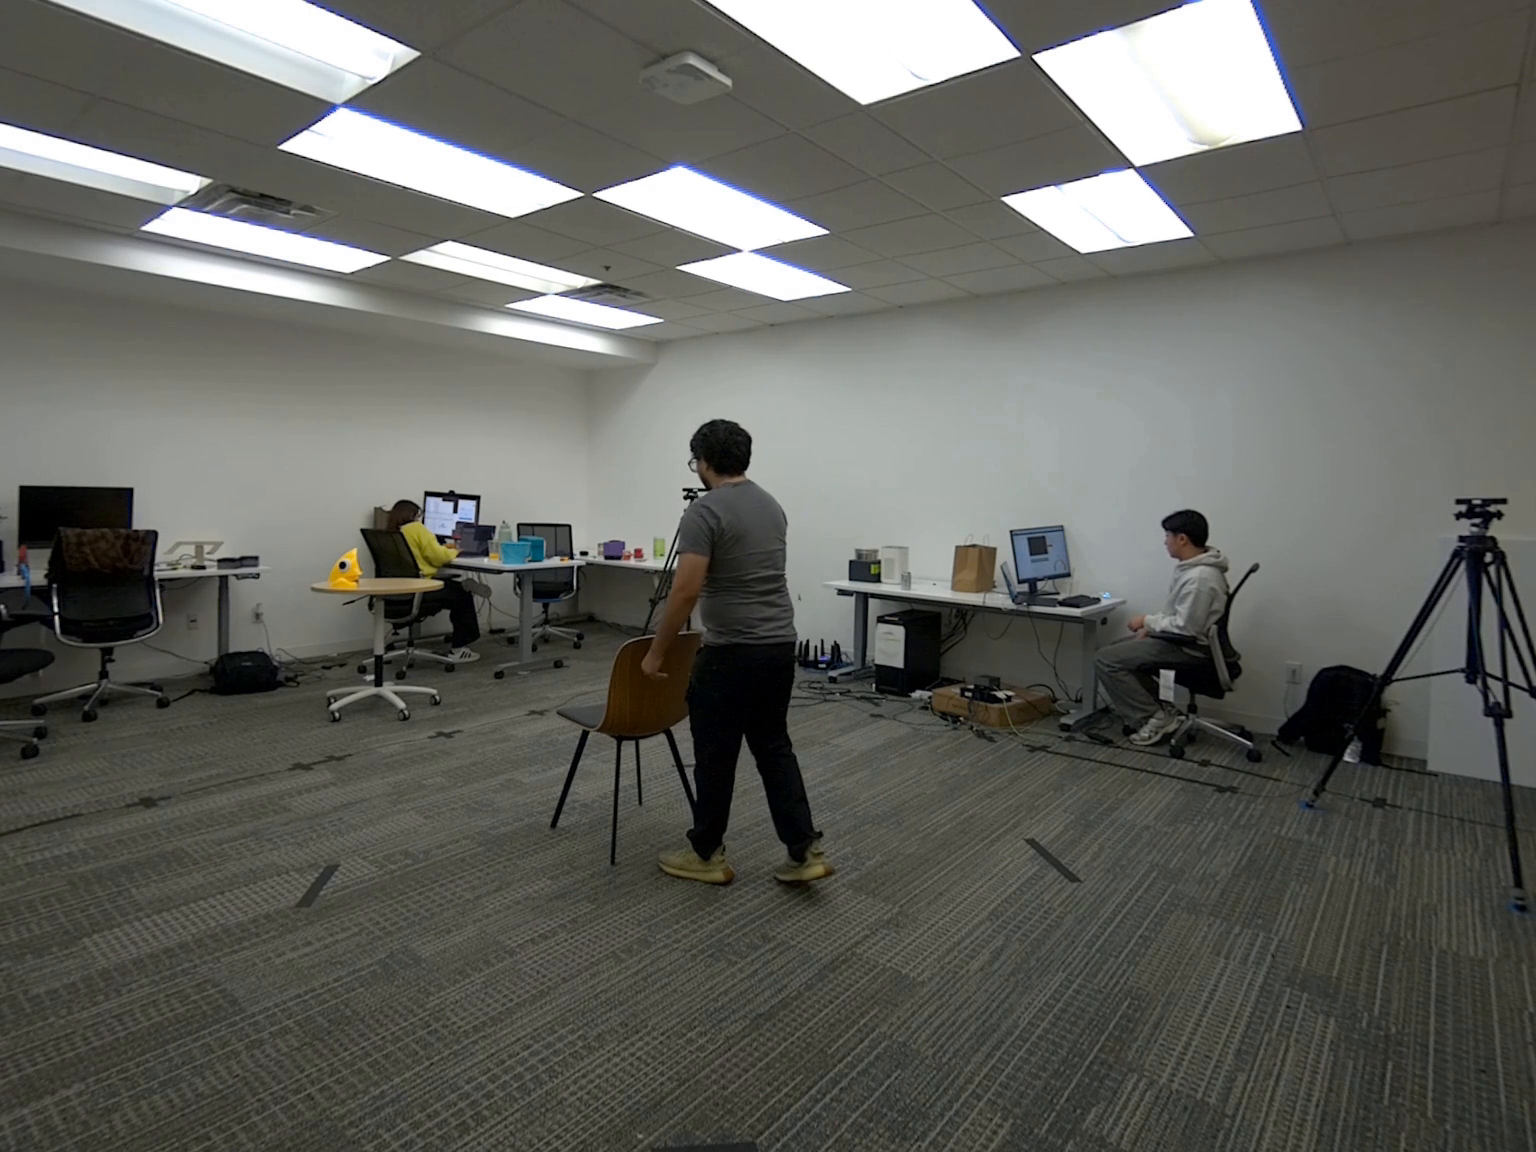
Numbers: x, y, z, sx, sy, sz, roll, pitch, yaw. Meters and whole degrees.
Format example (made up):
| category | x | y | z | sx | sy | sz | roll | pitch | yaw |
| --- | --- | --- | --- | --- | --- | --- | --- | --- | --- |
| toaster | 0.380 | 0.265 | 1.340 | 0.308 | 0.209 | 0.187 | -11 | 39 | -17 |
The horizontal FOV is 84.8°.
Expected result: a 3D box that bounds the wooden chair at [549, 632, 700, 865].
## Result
| category | x | y | z | sx | sy | sz | roll | pitch | yaw |
| --- | --- | --- | --- | --- | --- | --- | --- | --- | --- |
| wooden chair | -0.574 | 0.606 | 3.418 | 0.463 | 0.872 | 0.542 | -2 | 9 | -42 |
